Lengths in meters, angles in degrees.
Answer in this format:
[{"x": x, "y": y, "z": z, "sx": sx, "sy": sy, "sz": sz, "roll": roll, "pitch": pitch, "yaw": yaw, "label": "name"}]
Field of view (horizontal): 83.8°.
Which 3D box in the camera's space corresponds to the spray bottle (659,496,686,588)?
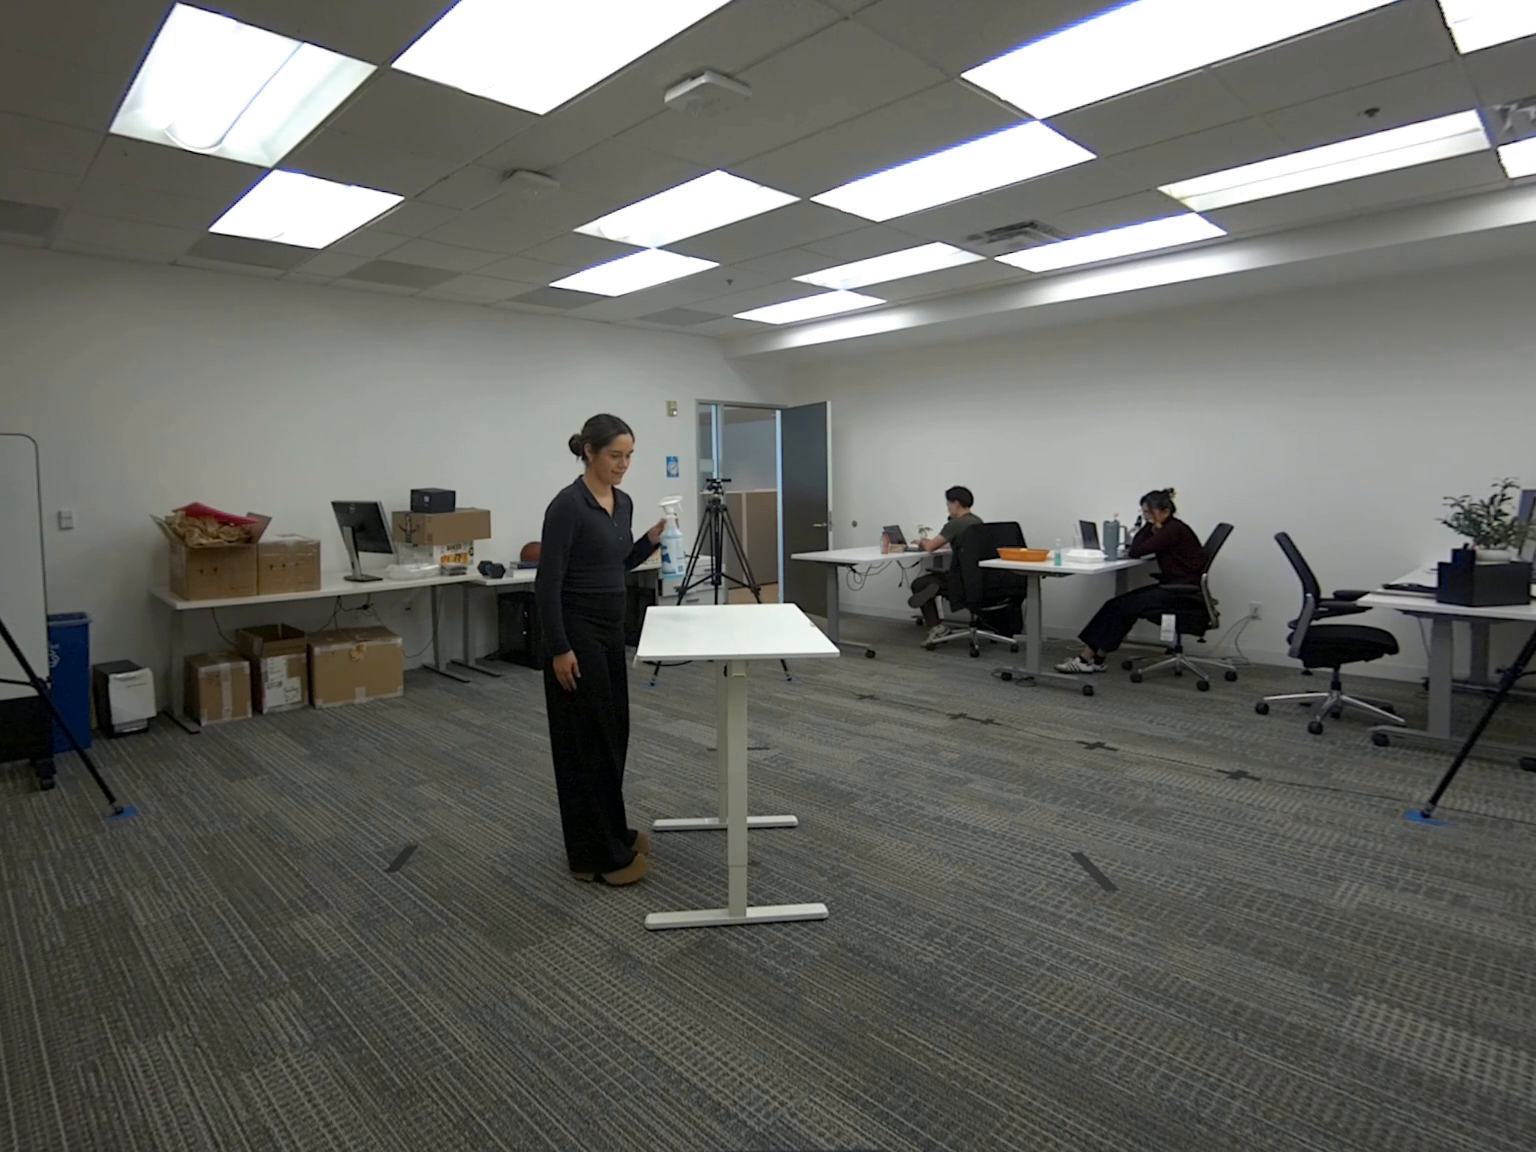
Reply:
[{"x": -0.354, "y": -0.140, "z": 3.097, "sx": 0.092, "sy": 0.296, "sz": 0.086, "roll": -2, "pitch": 3, "yaw": 19, "label": "spray bottle"}]
